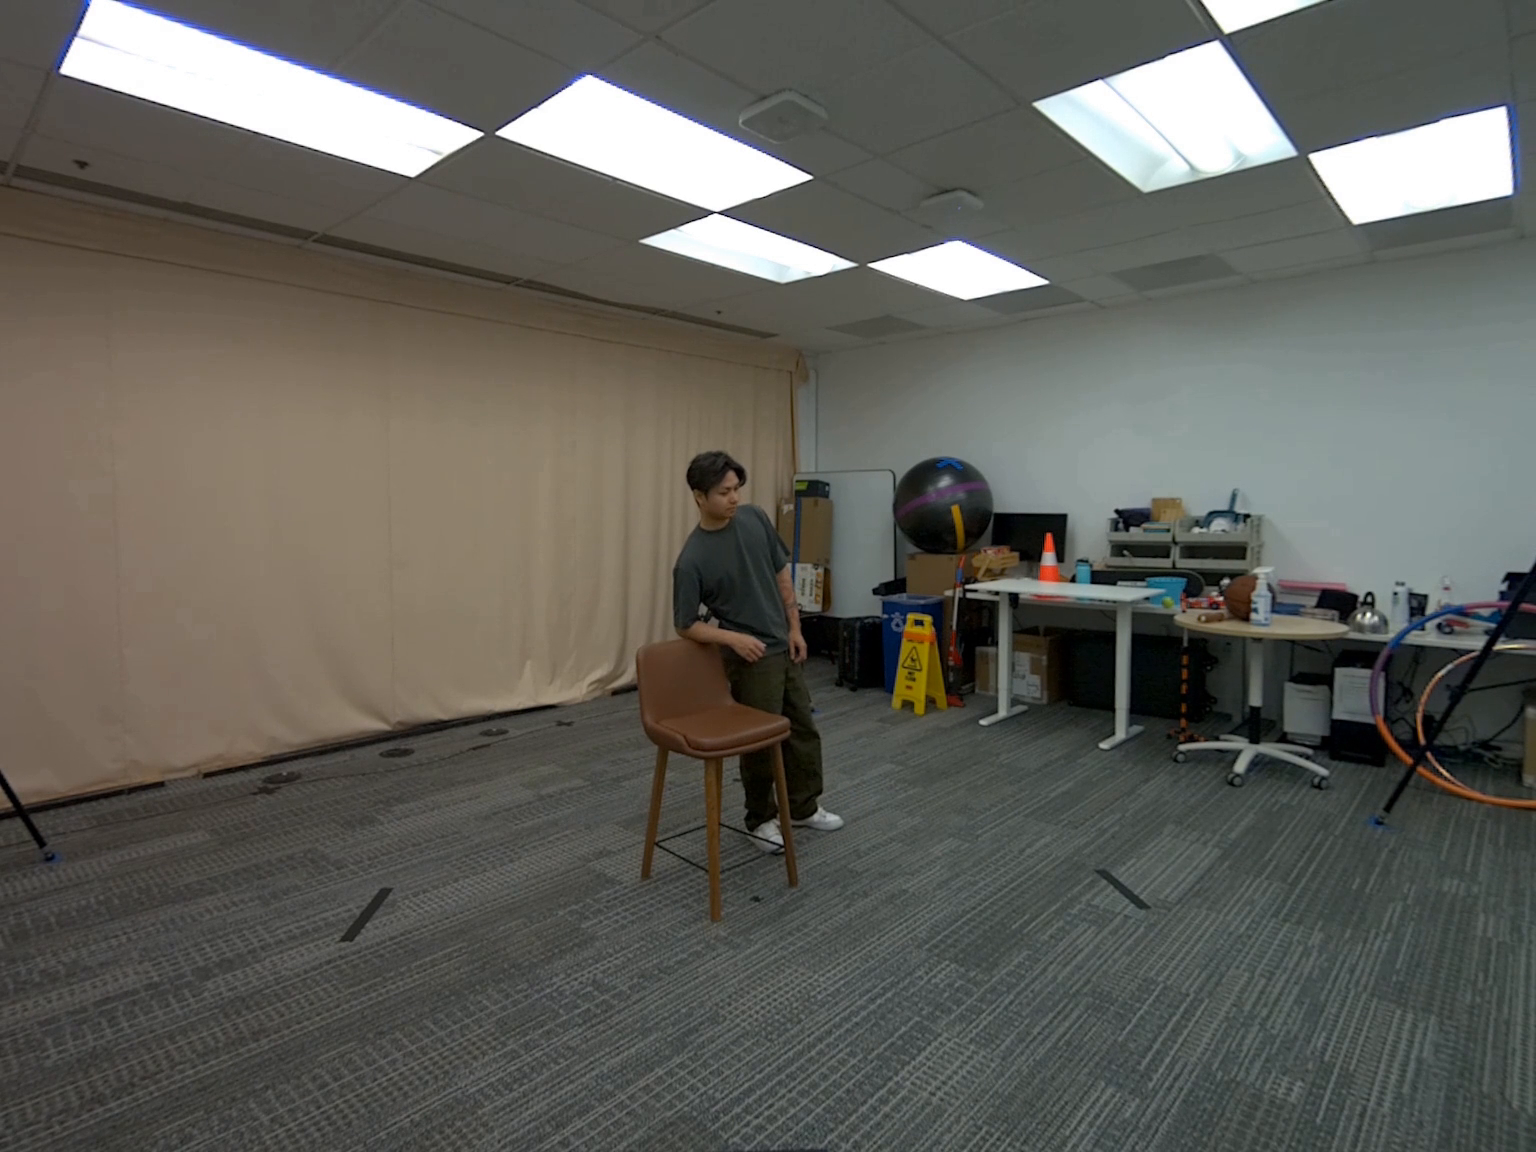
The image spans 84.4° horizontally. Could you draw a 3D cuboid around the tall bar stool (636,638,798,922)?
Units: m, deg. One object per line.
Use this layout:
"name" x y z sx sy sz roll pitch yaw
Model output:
"tall bar stool" -0.201 0.699 3.095 0.442 0.889 0.482 -3 2 -43
